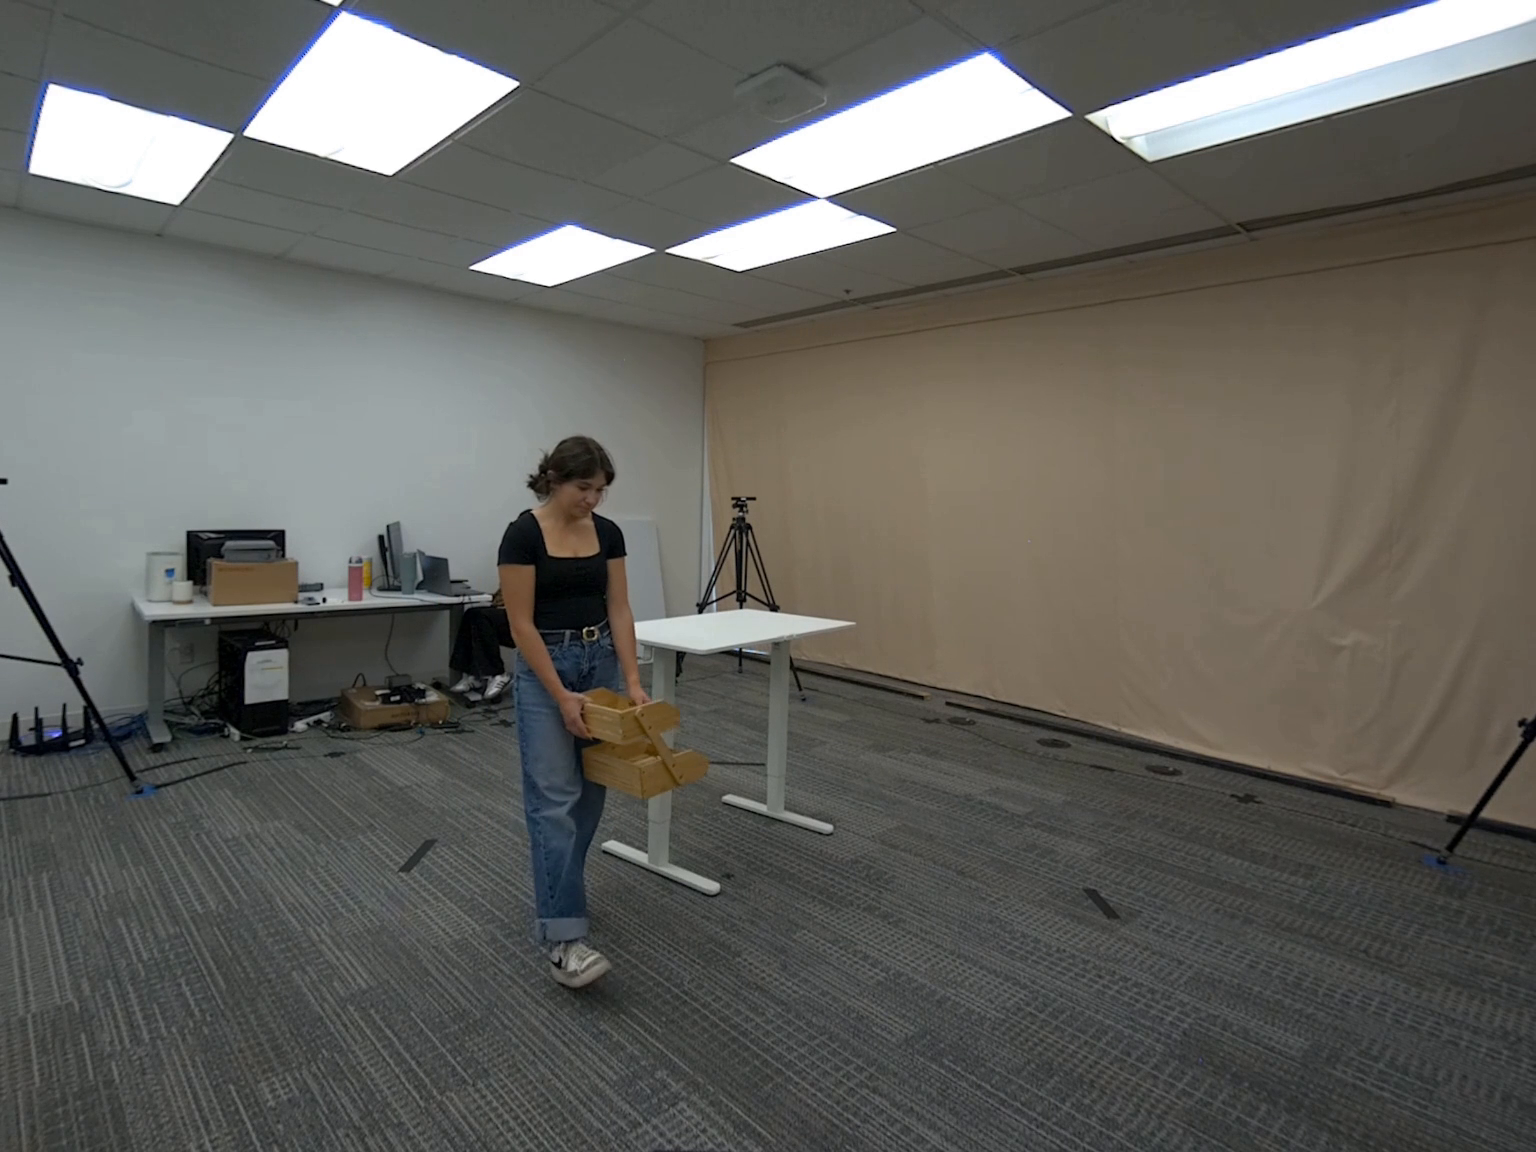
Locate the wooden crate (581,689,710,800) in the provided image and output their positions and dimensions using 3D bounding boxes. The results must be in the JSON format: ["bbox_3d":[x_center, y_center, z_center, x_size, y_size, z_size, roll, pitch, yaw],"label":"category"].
[{"bbox_3d":[-0.399,0.470,2.475,0.296,0.272,0.332,-11,7,-43],"label":"wooden crate"}]
